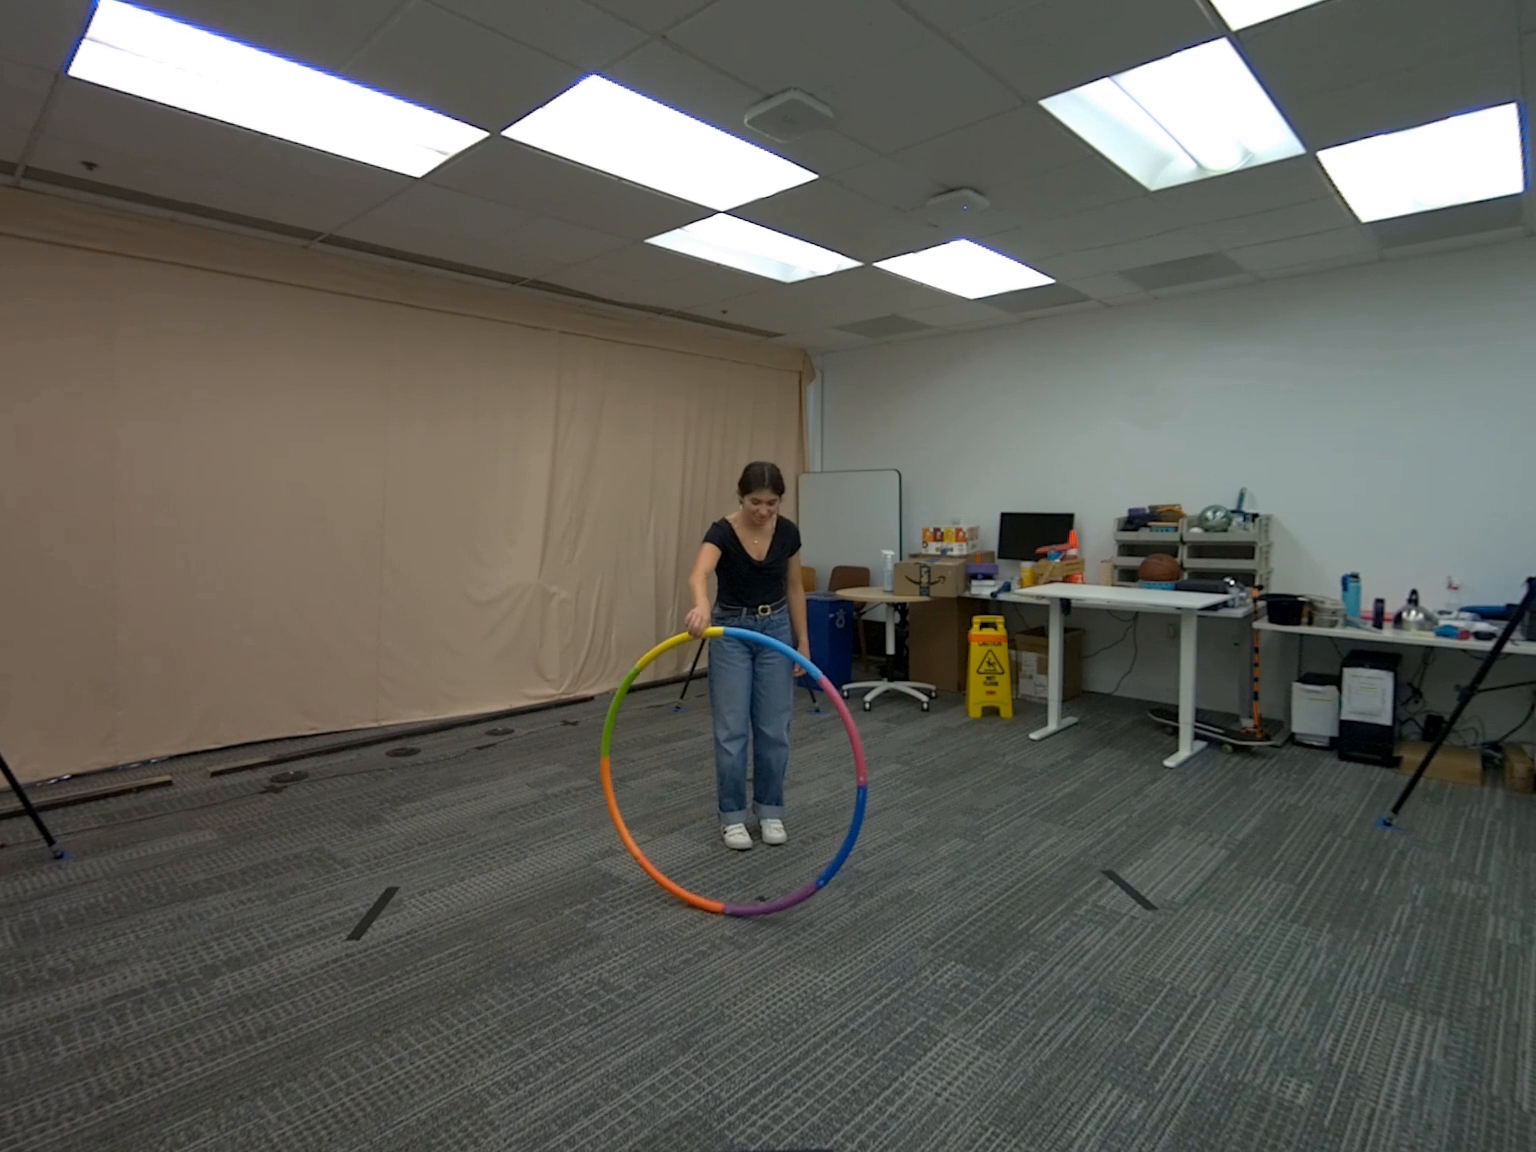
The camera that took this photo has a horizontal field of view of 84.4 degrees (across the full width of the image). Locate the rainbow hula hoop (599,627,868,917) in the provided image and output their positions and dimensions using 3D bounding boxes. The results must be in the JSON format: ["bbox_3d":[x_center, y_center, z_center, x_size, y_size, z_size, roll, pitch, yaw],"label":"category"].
[{"bbox_3d":[-0.144,0.670,2.891,1.002,0.979,0.034,1,-2,24],"label":"rainbow hula hoop"}]
